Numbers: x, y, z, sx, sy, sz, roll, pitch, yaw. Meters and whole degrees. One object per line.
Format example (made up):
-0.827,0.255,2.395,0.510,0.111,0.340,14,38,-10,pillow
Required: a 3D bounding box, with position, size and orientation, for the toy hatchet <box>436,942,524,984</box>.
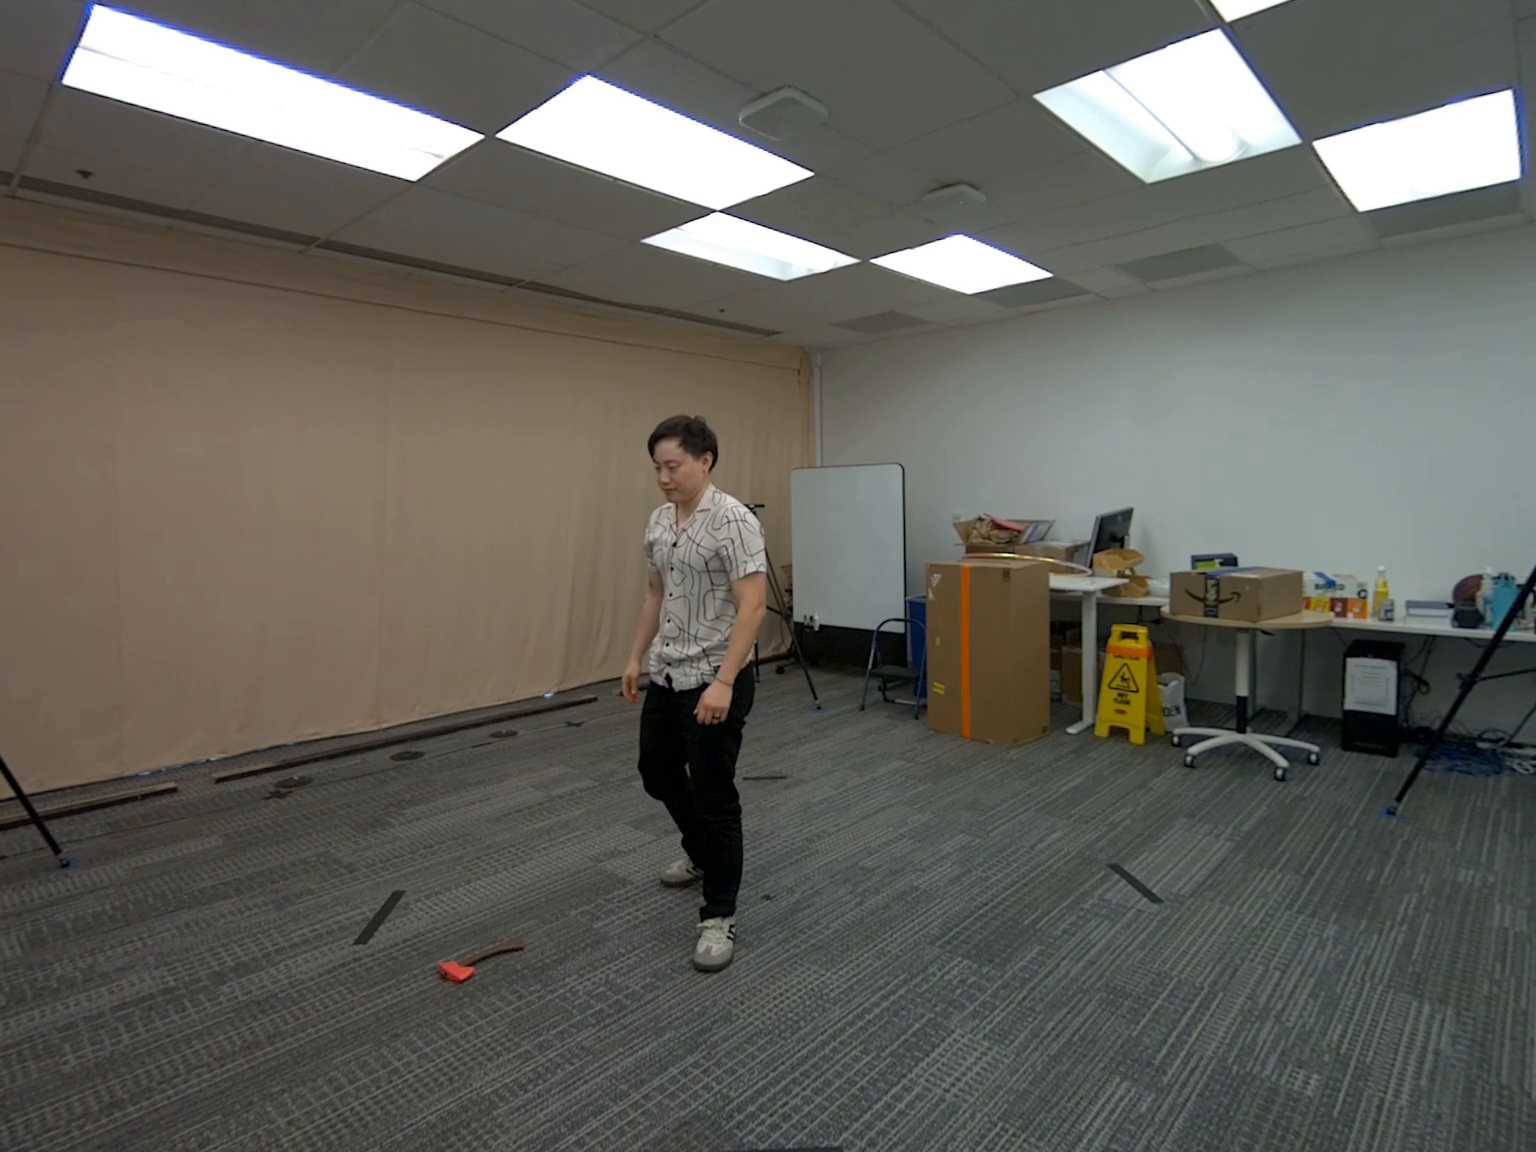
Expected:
-0.870,1.185,2.573,0.262,0.029,0.135,-3,3,-32,toy hatchet
